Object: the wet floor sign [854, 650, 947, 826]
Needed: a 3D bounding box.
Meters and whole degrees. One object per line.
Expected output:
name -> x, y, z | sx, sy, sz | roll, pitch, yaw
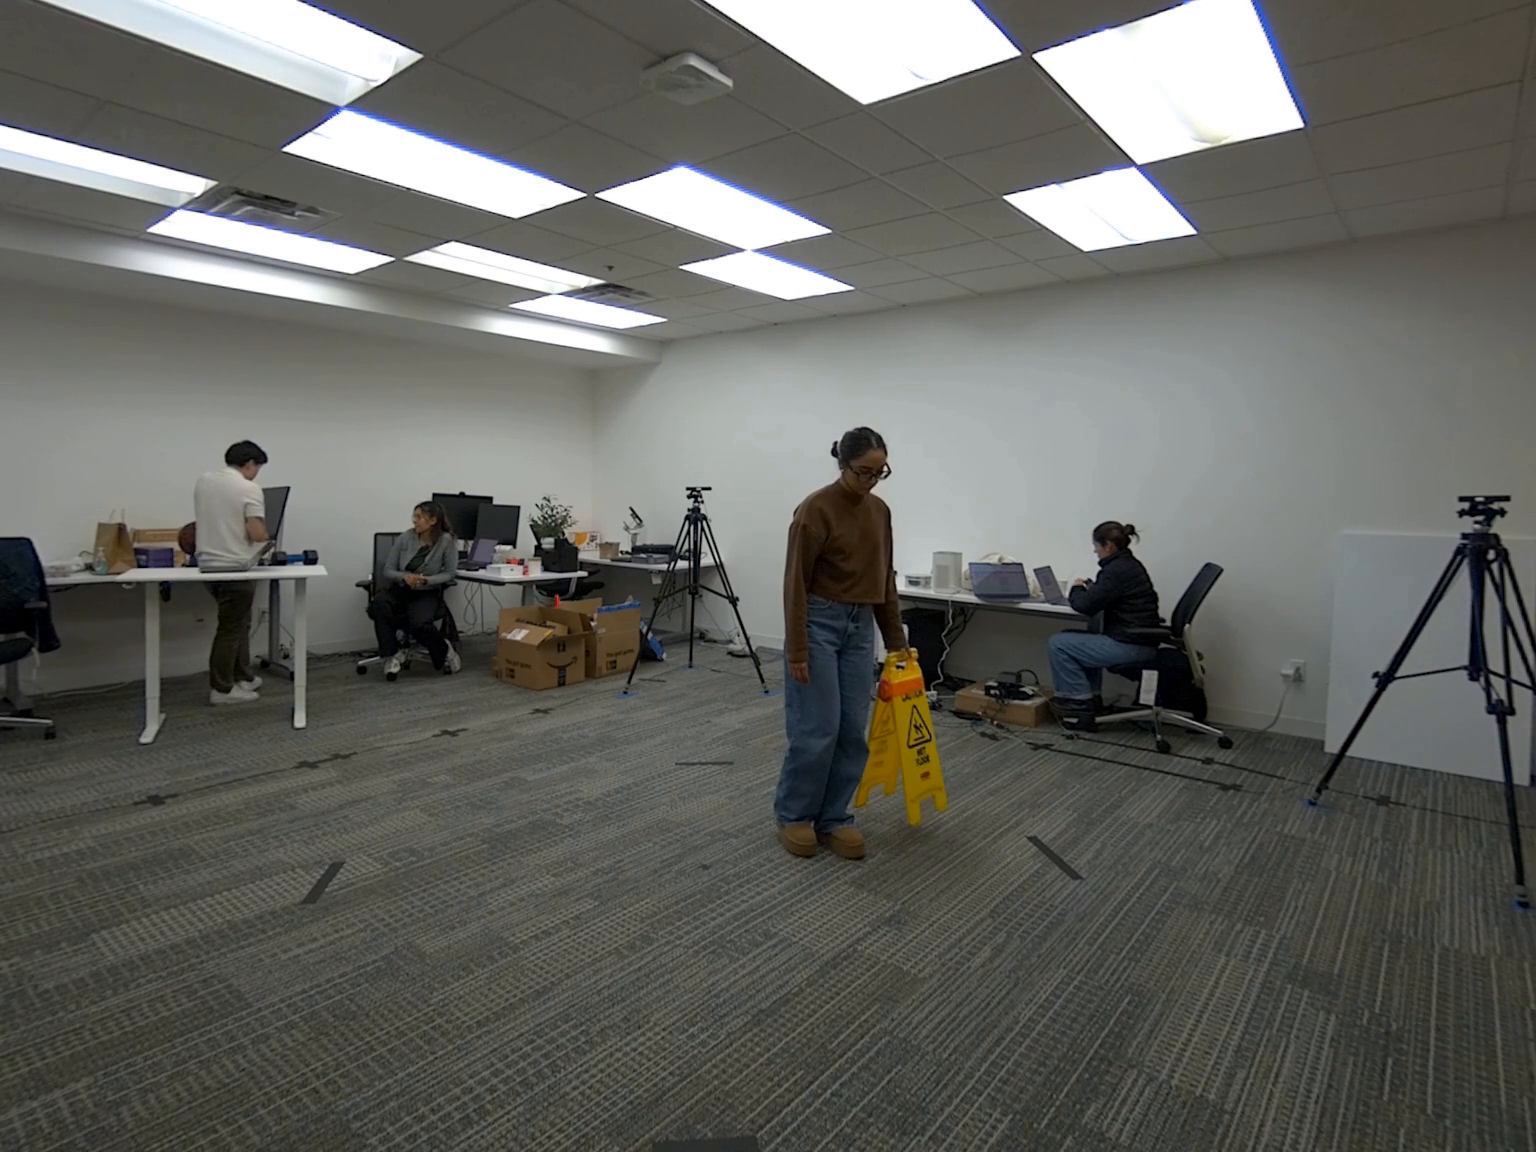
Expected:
wet floor sign -> 0.533, 0.626, 3.466 | 0.299, 0.645, 0.274 | 2, 3, 44
